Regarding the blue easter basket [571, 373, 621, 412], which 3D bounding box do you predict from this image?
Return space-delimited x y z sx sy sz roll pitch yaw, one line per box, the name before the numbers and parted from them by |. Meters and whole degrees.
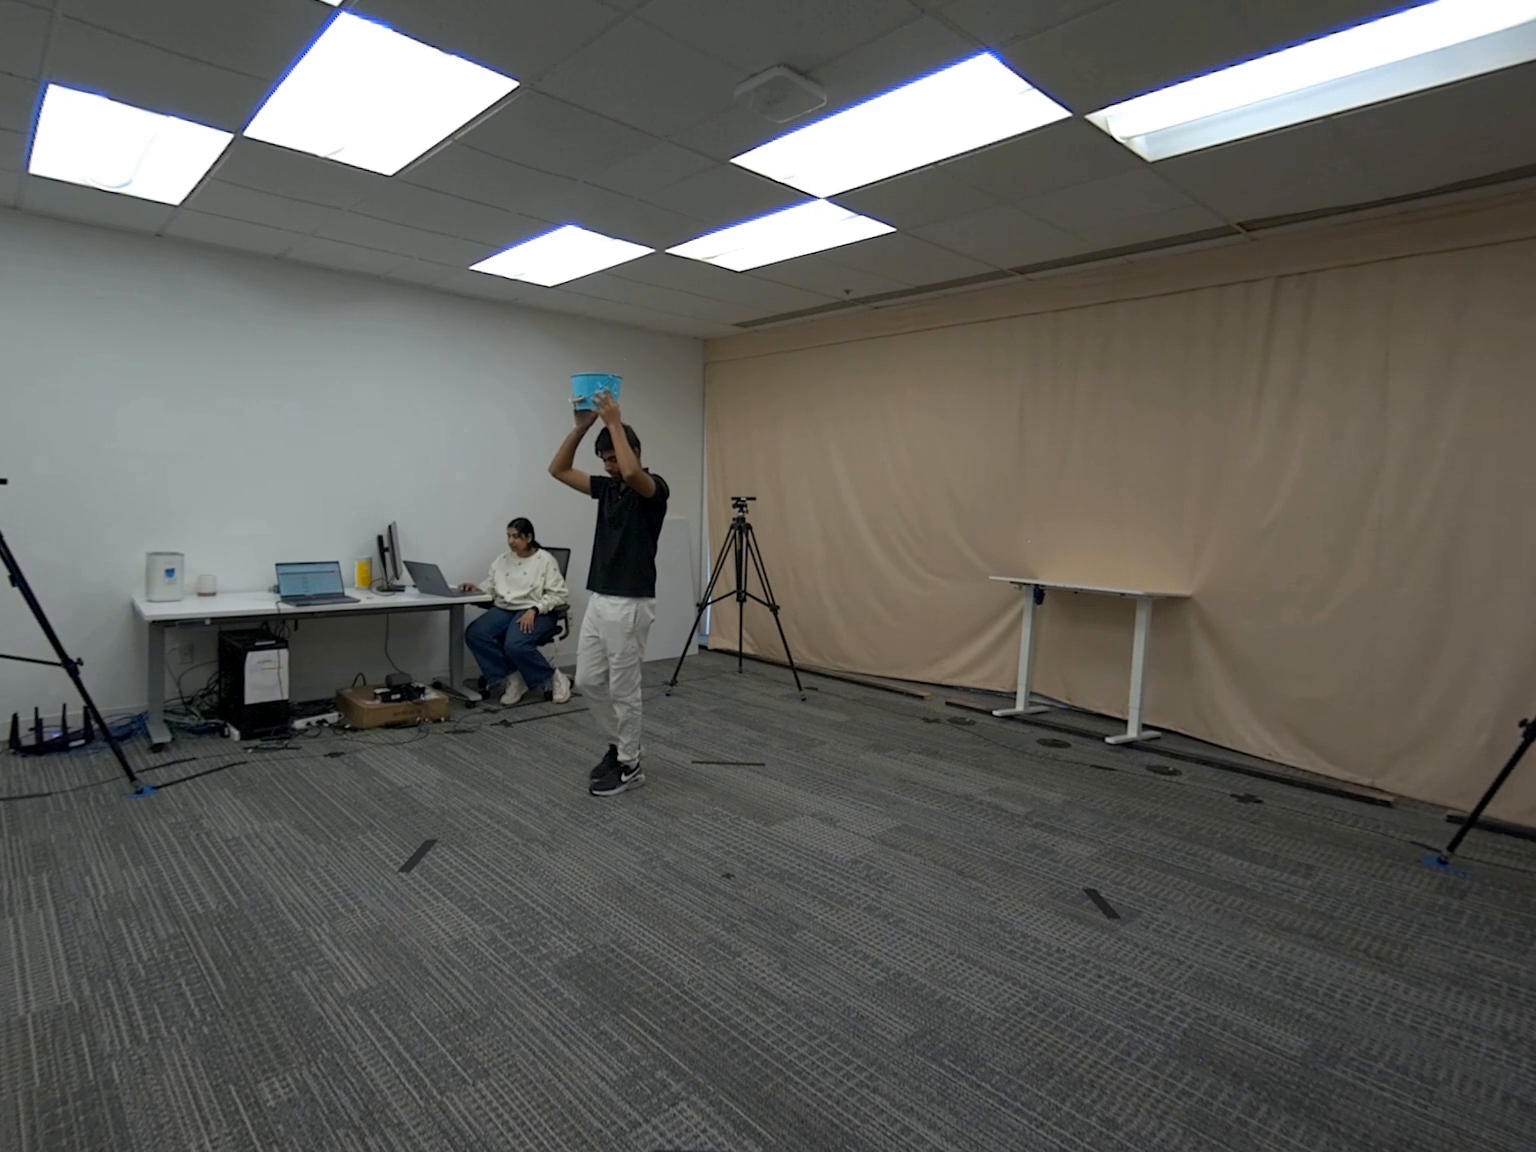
blue easter basket | -0.795 -0.834 3.831 0.243 0.155 0.244 1 4 -1
